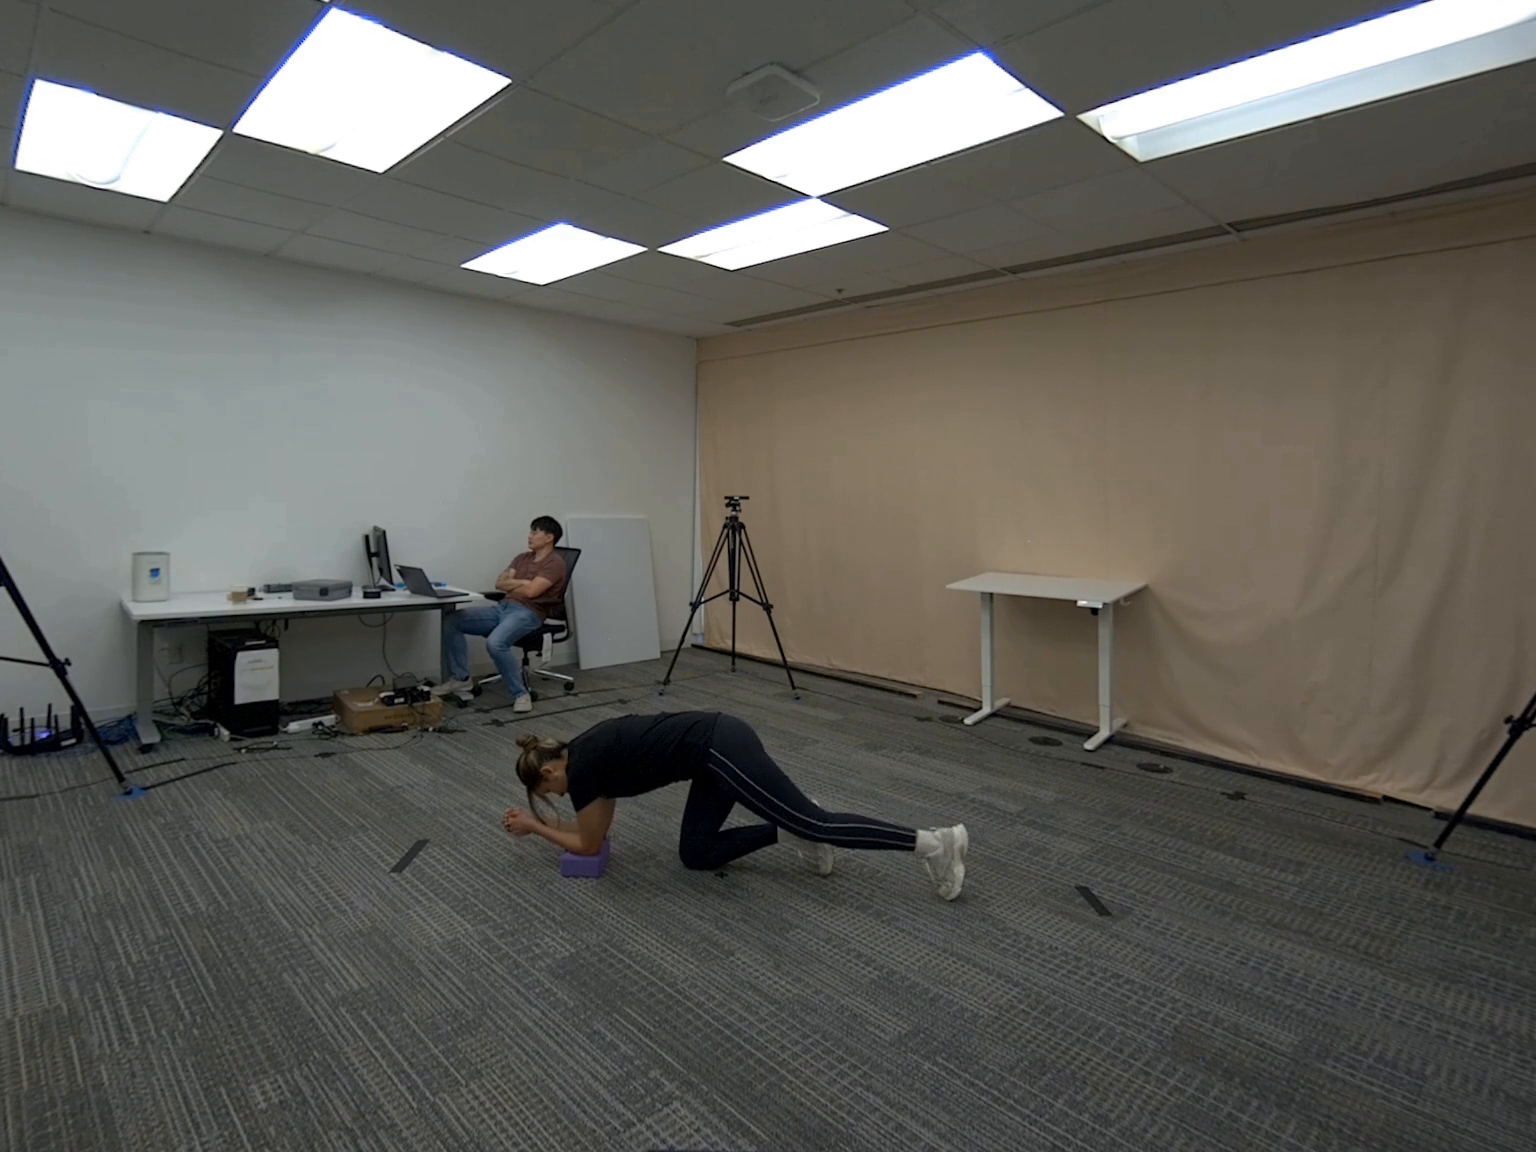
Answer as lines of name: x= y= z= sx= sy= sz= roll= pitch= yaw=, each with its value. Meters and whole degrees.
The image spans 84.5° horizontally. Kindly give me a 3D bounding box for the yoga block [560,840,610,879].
yoga block: x=-0.686 y=1.041 z=3.163 sx=0.149 sy=0.076 sz=0.230 roll=0 pitch=5 yaw=1
